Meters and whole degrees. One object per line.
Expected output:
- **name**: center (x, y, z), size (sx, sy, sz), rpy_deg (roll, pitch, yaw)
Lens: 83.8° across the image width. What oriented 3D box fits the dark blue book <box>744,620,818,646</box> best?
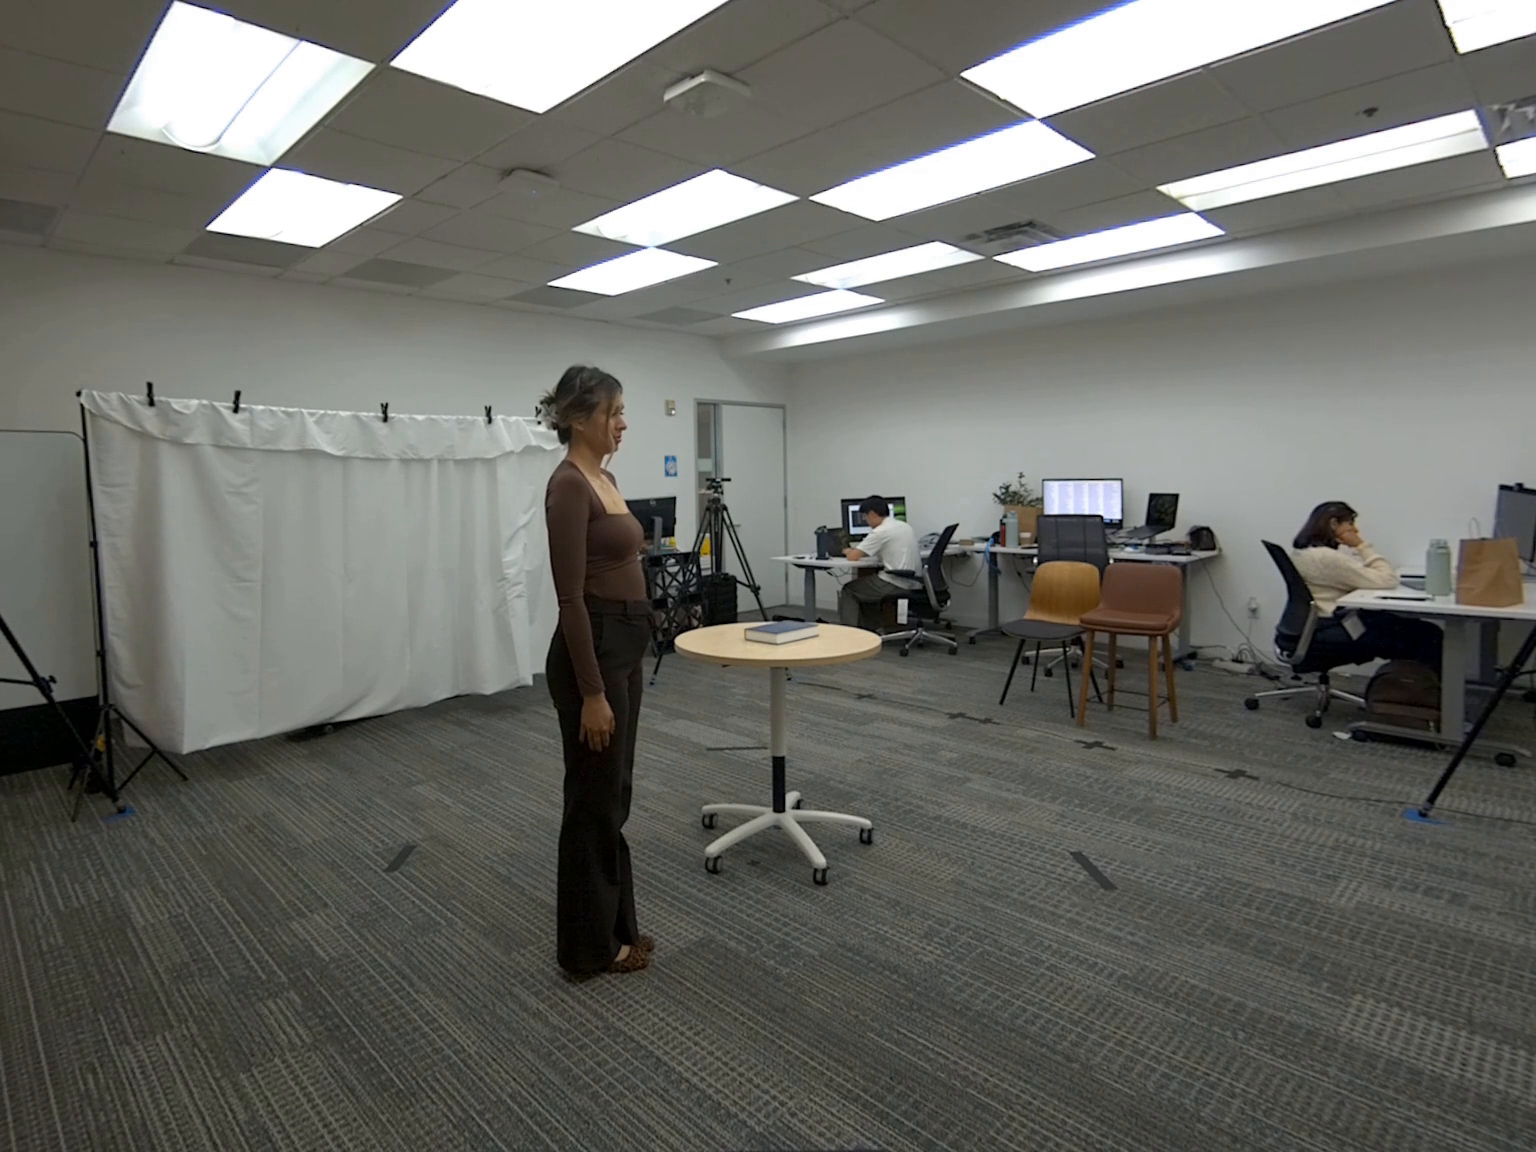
- **dark blue book**: center (0.060, 0.210, 3.195), size (0.168, 0.045, 0.239), rpy_deg (5, 8, 42)
